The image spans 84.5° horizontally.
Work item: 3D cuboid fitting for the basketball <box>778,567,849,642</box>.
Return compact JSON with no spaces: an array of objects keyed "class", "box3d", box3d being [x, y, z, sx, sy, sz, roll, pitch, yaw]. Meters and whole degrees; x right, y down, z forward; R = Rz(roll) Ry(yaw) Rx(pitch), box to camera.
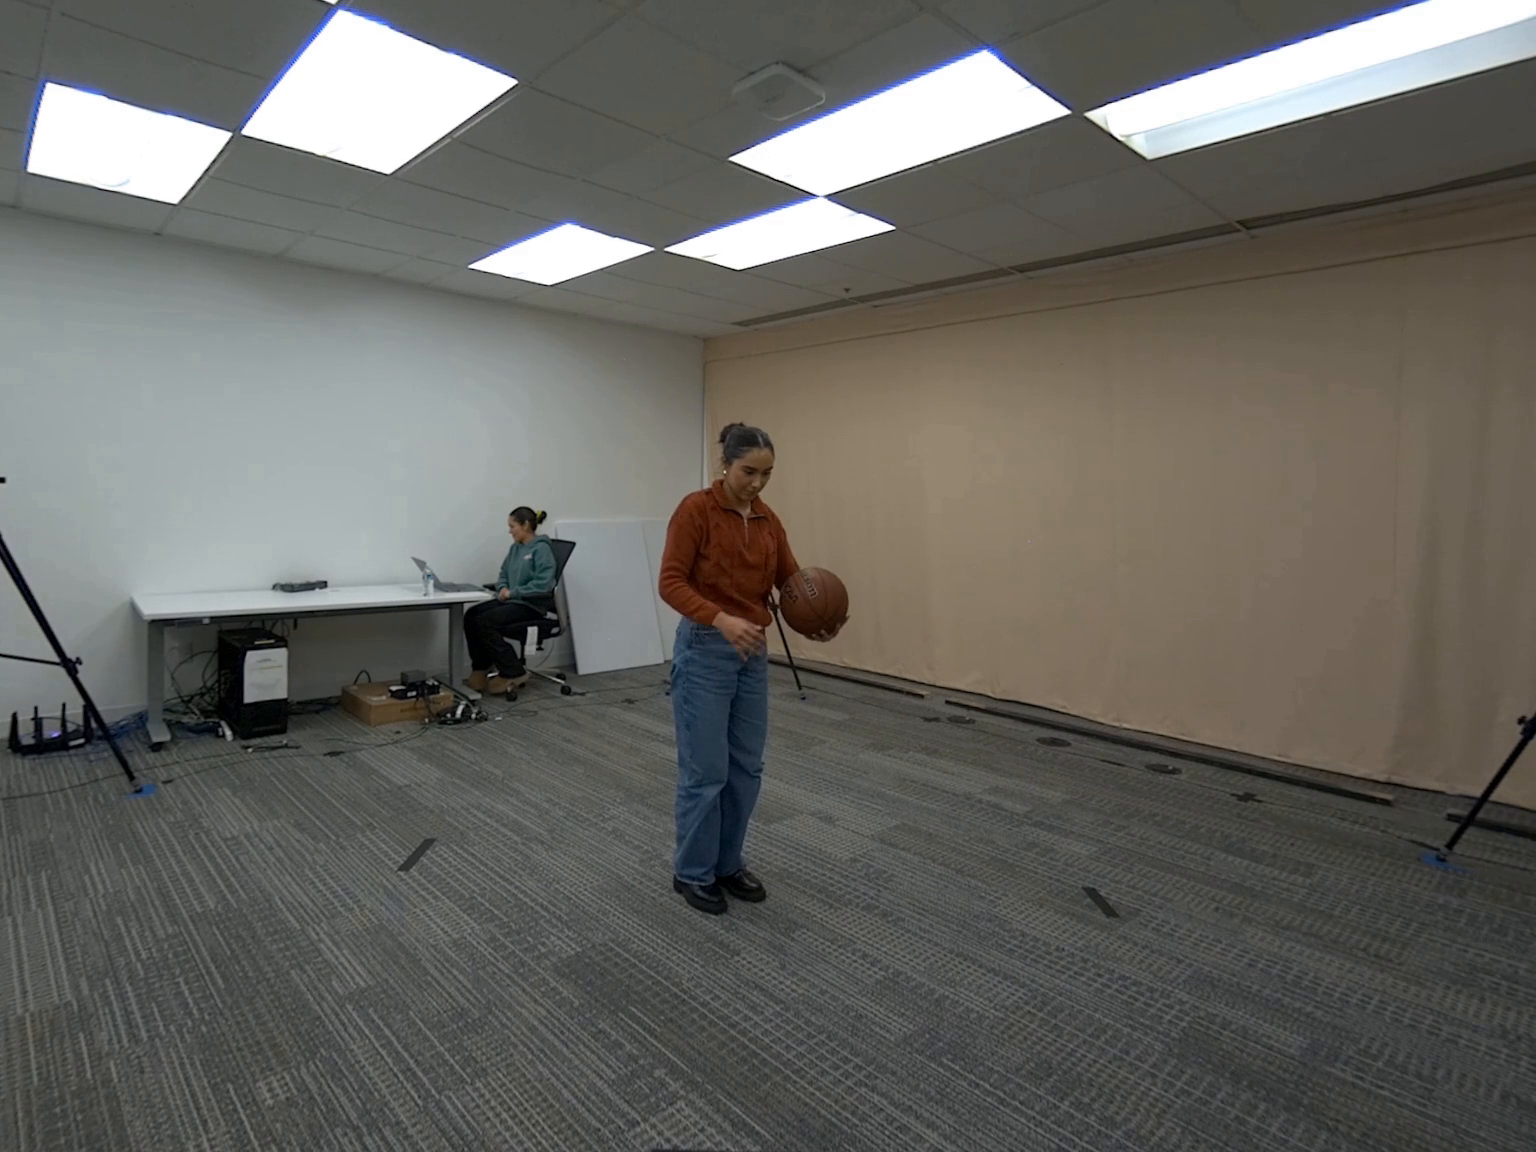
[{"class":"basketball","box3d":[0.128,0.085,2.874,0.236,0.235,0.237,1,4,-1]}]
